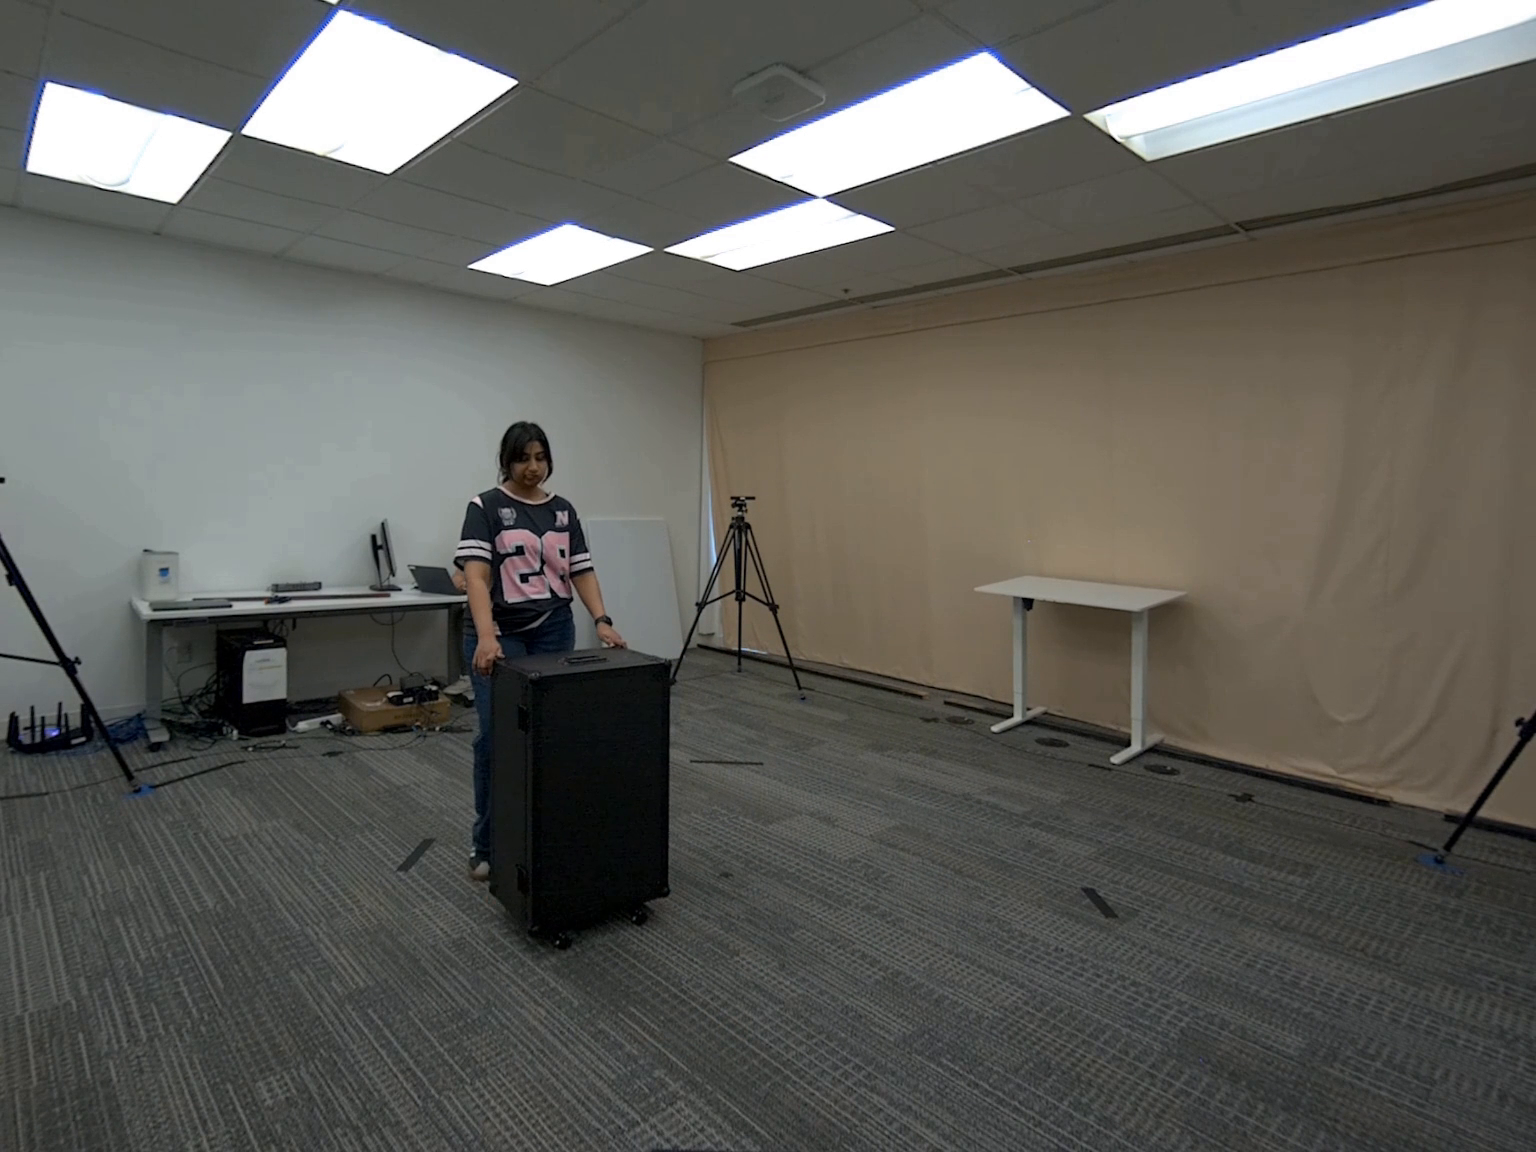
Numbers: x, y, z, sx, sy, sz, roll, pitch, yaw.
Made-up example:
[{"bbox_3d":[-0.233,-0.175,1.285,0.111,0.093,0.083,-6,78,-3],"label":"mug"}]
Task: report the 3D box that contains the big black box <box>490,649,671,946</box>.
[{"bbox_3d":[-0.631,0.706,2.761,0.512,0.867,0.394,-1,3,-38],"label":"big black box"}]
